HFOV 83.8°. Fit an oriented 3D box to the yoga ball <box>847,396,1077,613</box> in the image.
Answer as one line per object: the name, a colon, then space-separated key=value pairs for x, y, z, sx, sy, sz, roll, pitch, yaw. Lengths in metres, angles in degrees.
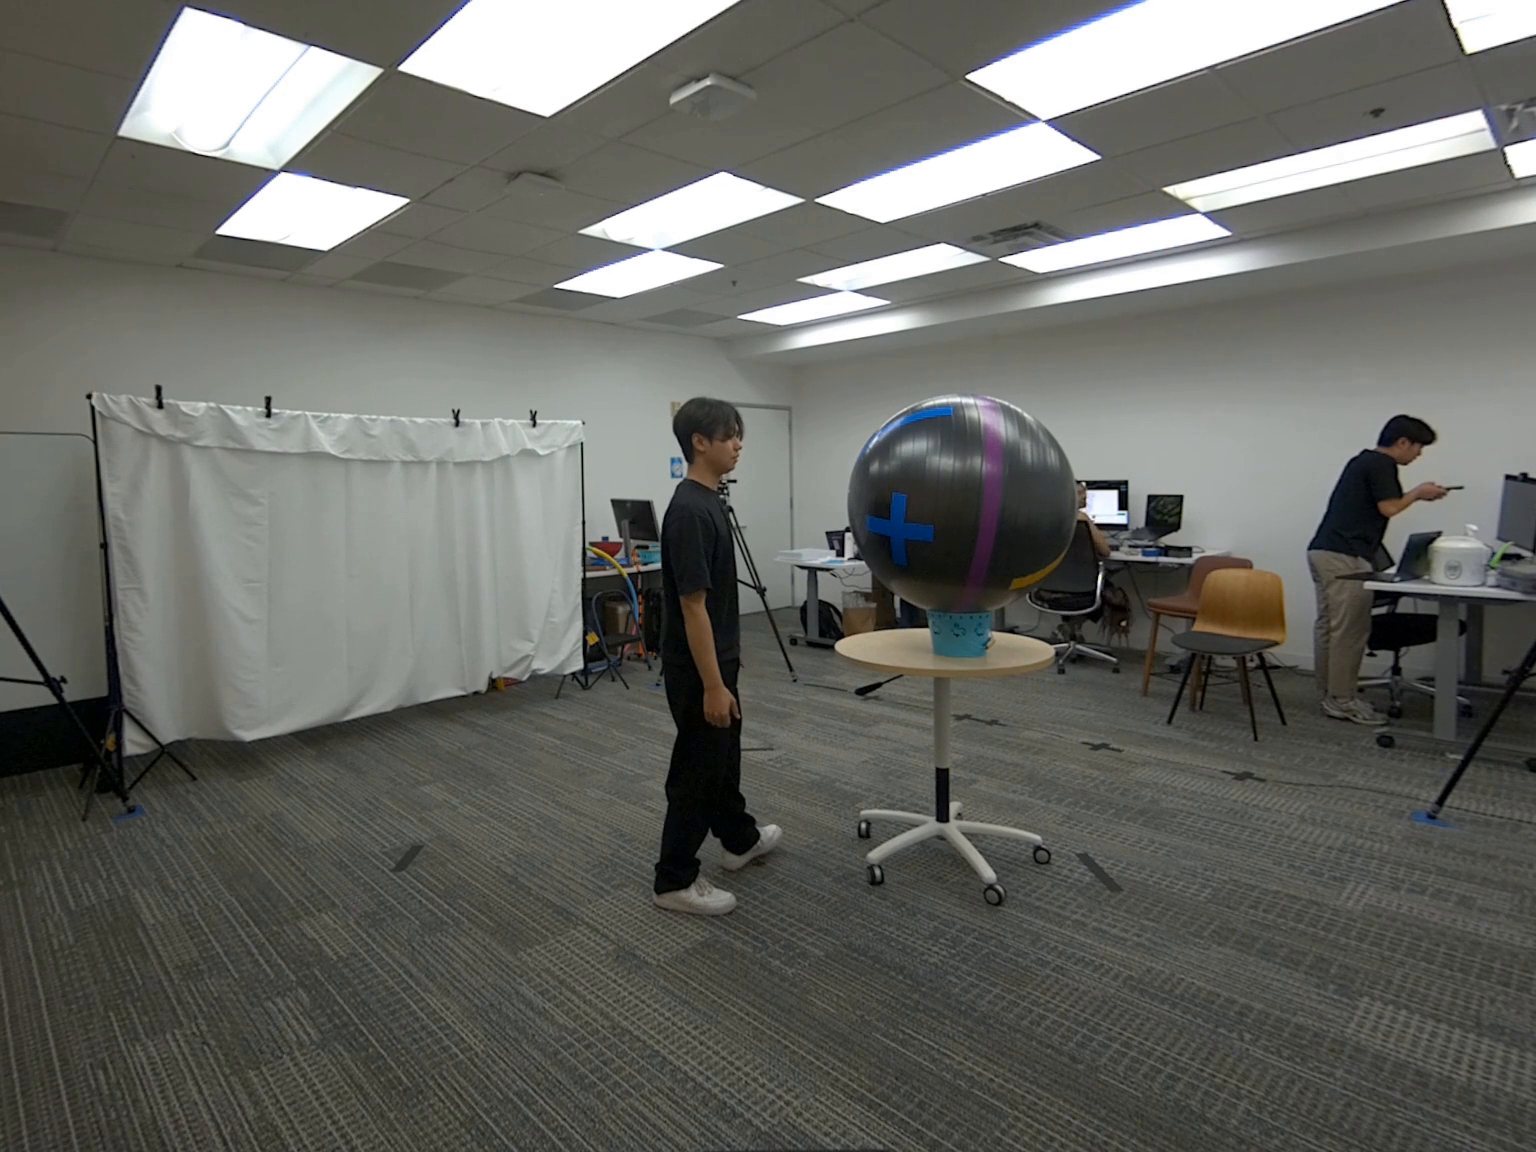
yoga ball: x=0.665 y=-0.245 z=2.960 sx=0.757 sy=0.755 sz=0.762 roll=-1 pitch=5 yaw=-2
